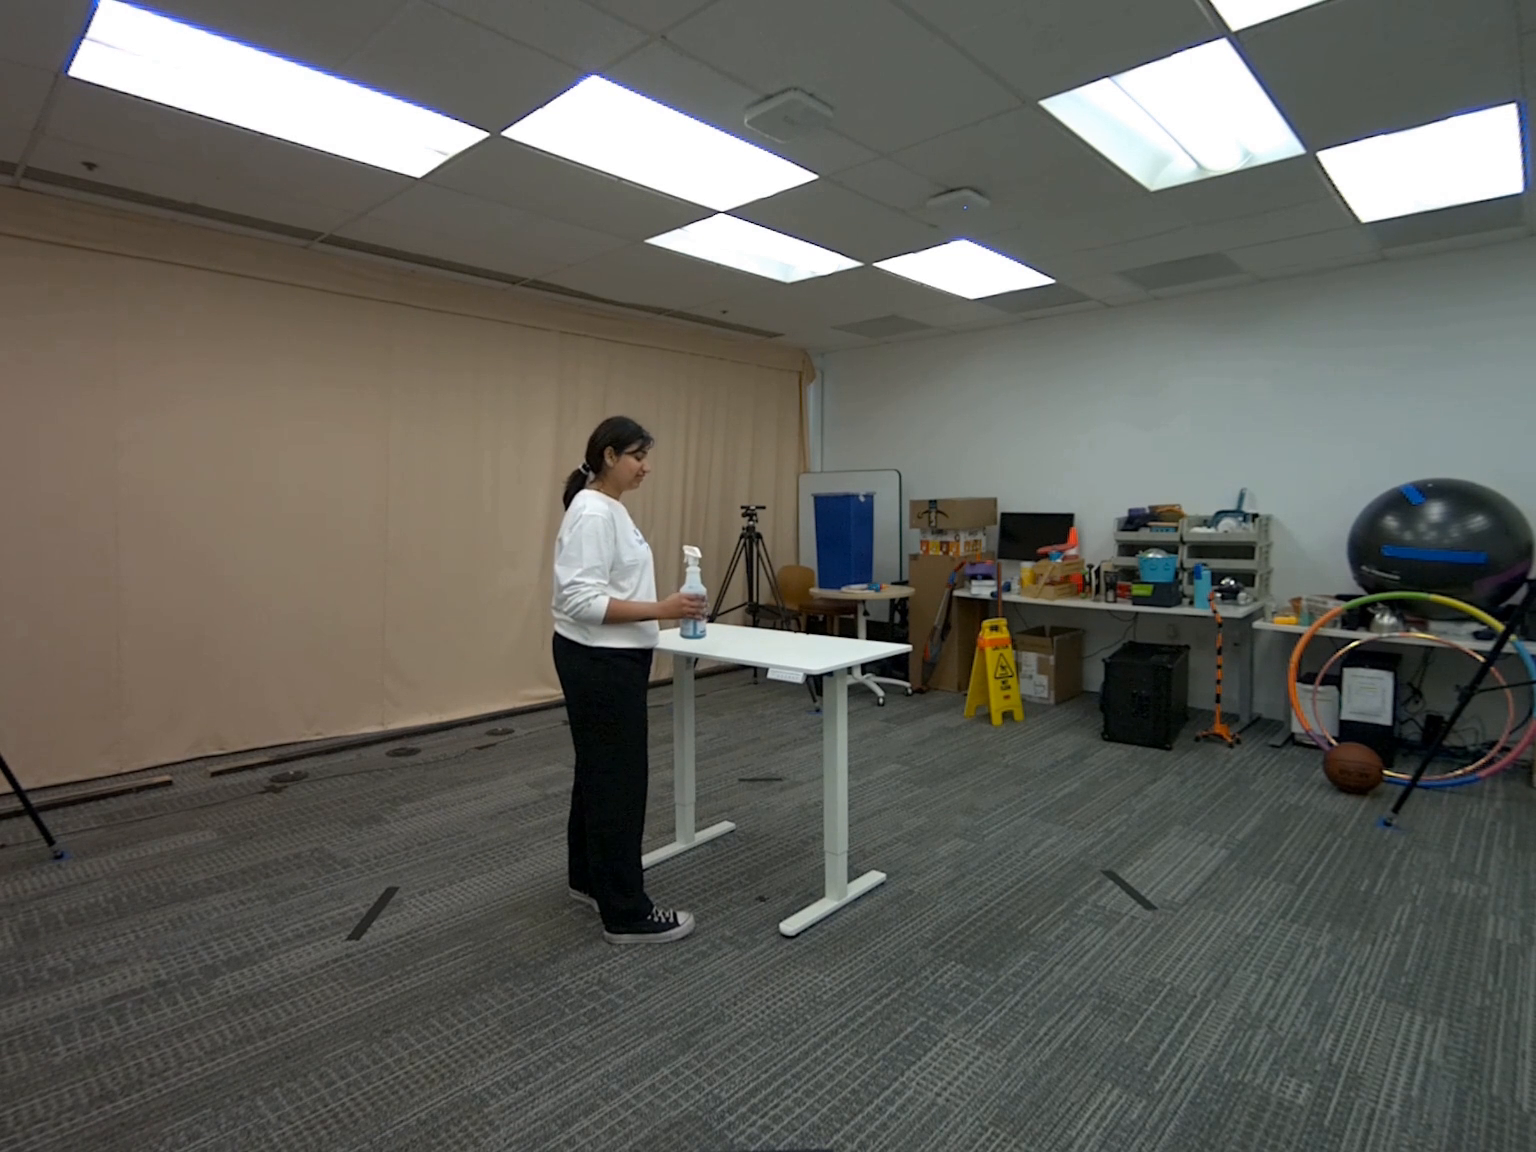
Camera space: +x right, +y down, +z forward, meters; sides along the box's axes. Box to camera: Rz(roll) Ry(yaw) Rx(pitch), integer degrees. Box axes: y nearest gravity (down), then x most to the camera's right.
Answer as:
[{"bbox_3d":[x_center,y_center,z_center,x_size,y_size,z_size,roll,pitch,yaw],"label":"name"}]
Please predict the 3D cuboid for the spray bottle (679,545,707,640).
[{"bbox_3d":[-0.239,0.054,2.720,0.086,0.296,0.091,-2,4,-13],"label":"spray bottle"}]
